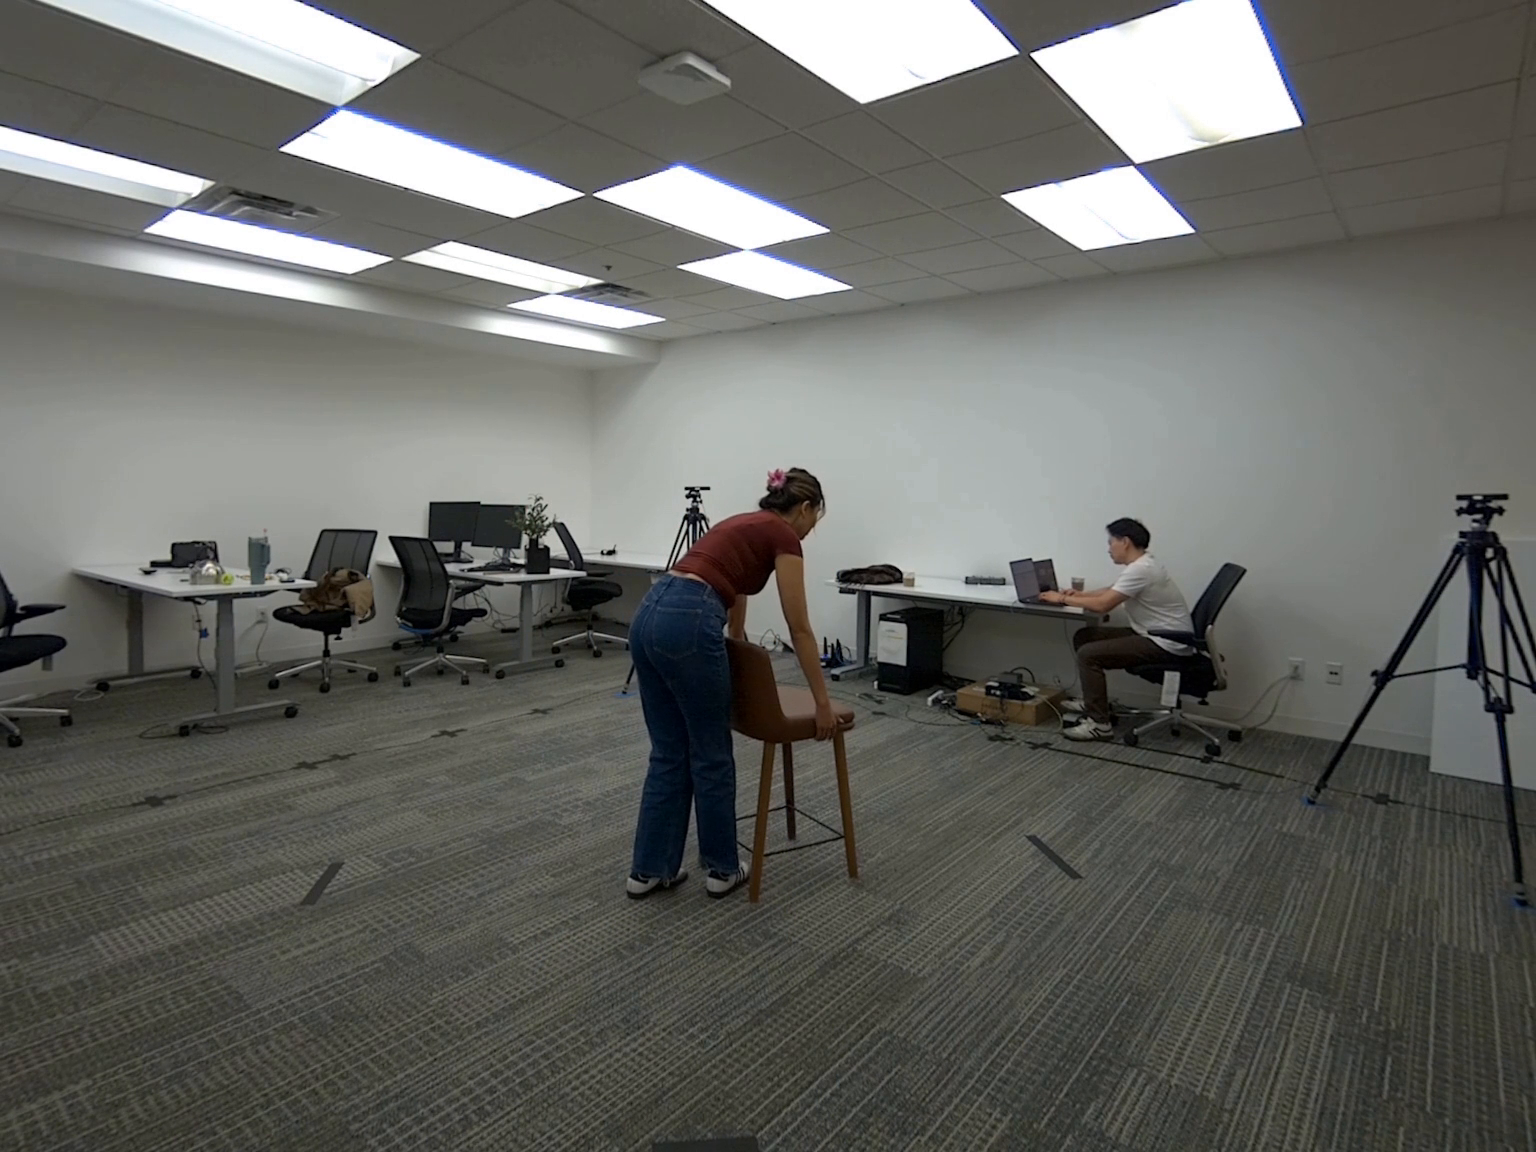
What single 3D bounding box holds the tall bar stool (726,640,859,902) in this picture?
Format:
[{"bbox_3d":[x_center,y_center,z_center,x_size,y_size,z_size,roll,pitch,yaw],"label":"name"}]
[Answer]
[{"bbox_3d":[0.017,0.633,3.093,0.455,0.886,0.471,-4,5,-33],"label":"tall bar stool"}]
